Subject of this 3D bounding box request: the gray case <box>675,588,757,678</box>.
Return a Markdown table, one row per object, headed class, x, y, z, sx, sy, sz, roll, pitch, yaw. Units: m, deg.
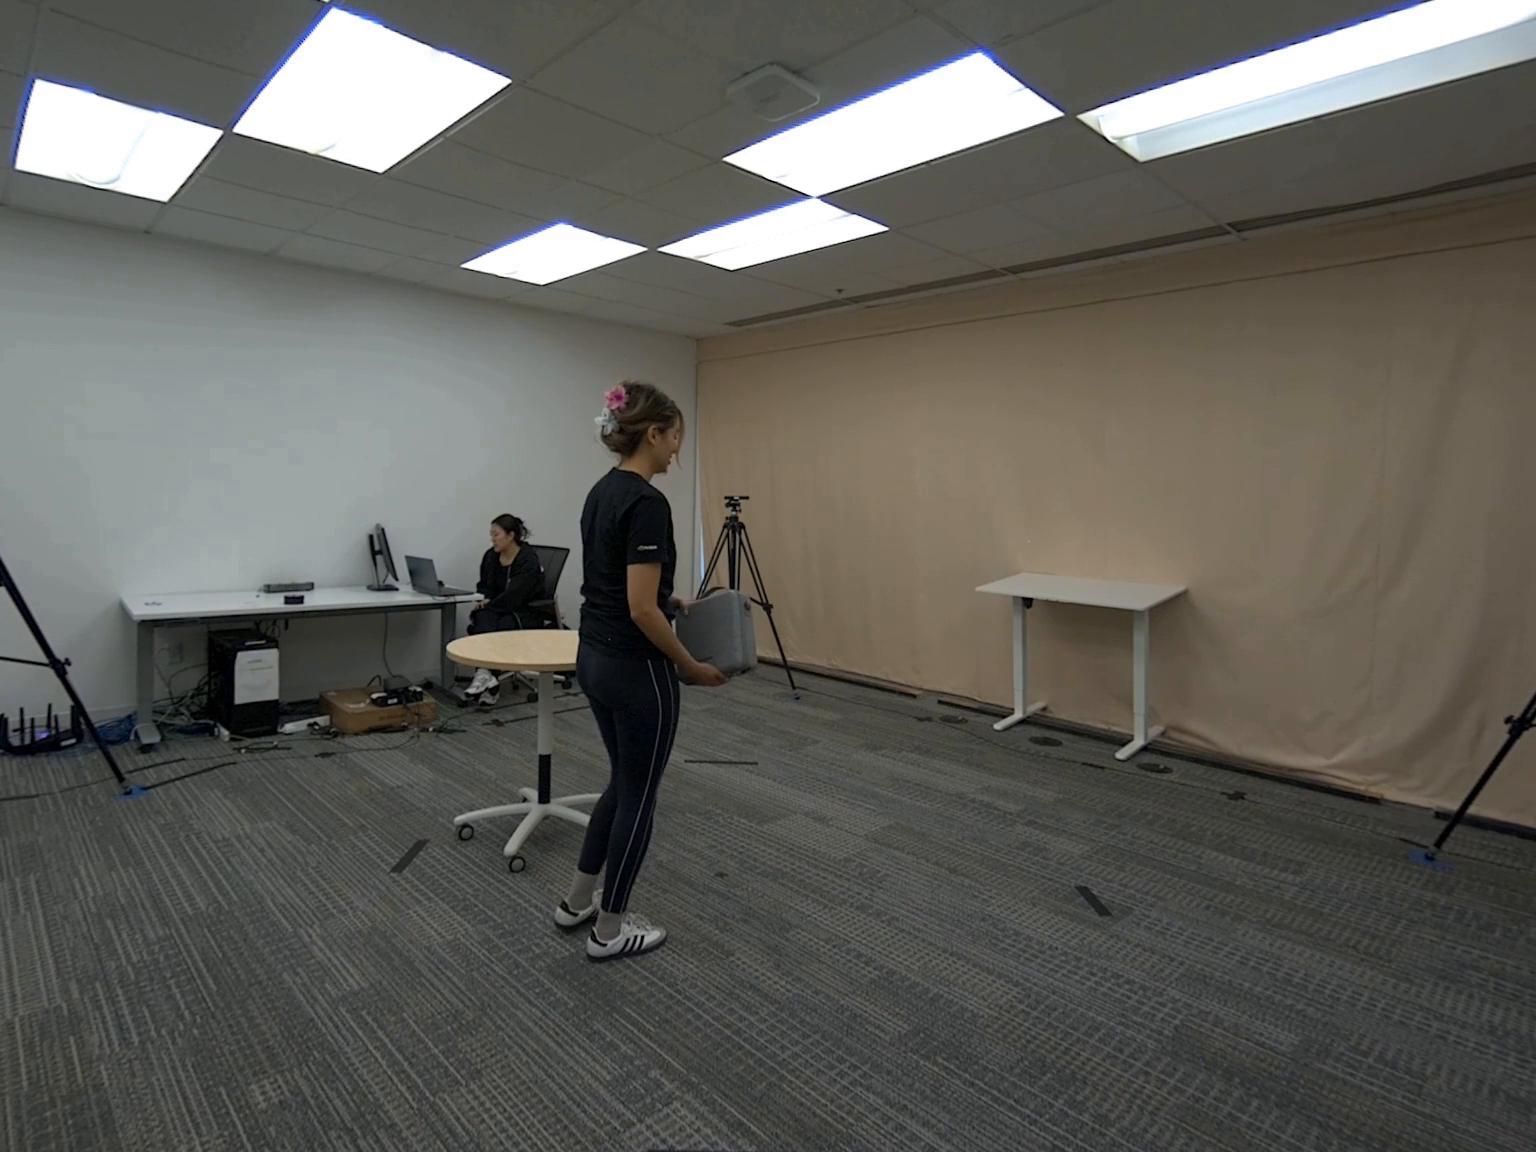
| class | x | y | z | sx | sy | sz | roll | pitch | yaw |
| --- | --- | --- | --- | --- | --- | --- | --- | --- | --- |
| gray case | -0.176 | 0.192 | 2.586 | 0.260 | 0.264 | 0.101 | -18 | -22 | 31 |
